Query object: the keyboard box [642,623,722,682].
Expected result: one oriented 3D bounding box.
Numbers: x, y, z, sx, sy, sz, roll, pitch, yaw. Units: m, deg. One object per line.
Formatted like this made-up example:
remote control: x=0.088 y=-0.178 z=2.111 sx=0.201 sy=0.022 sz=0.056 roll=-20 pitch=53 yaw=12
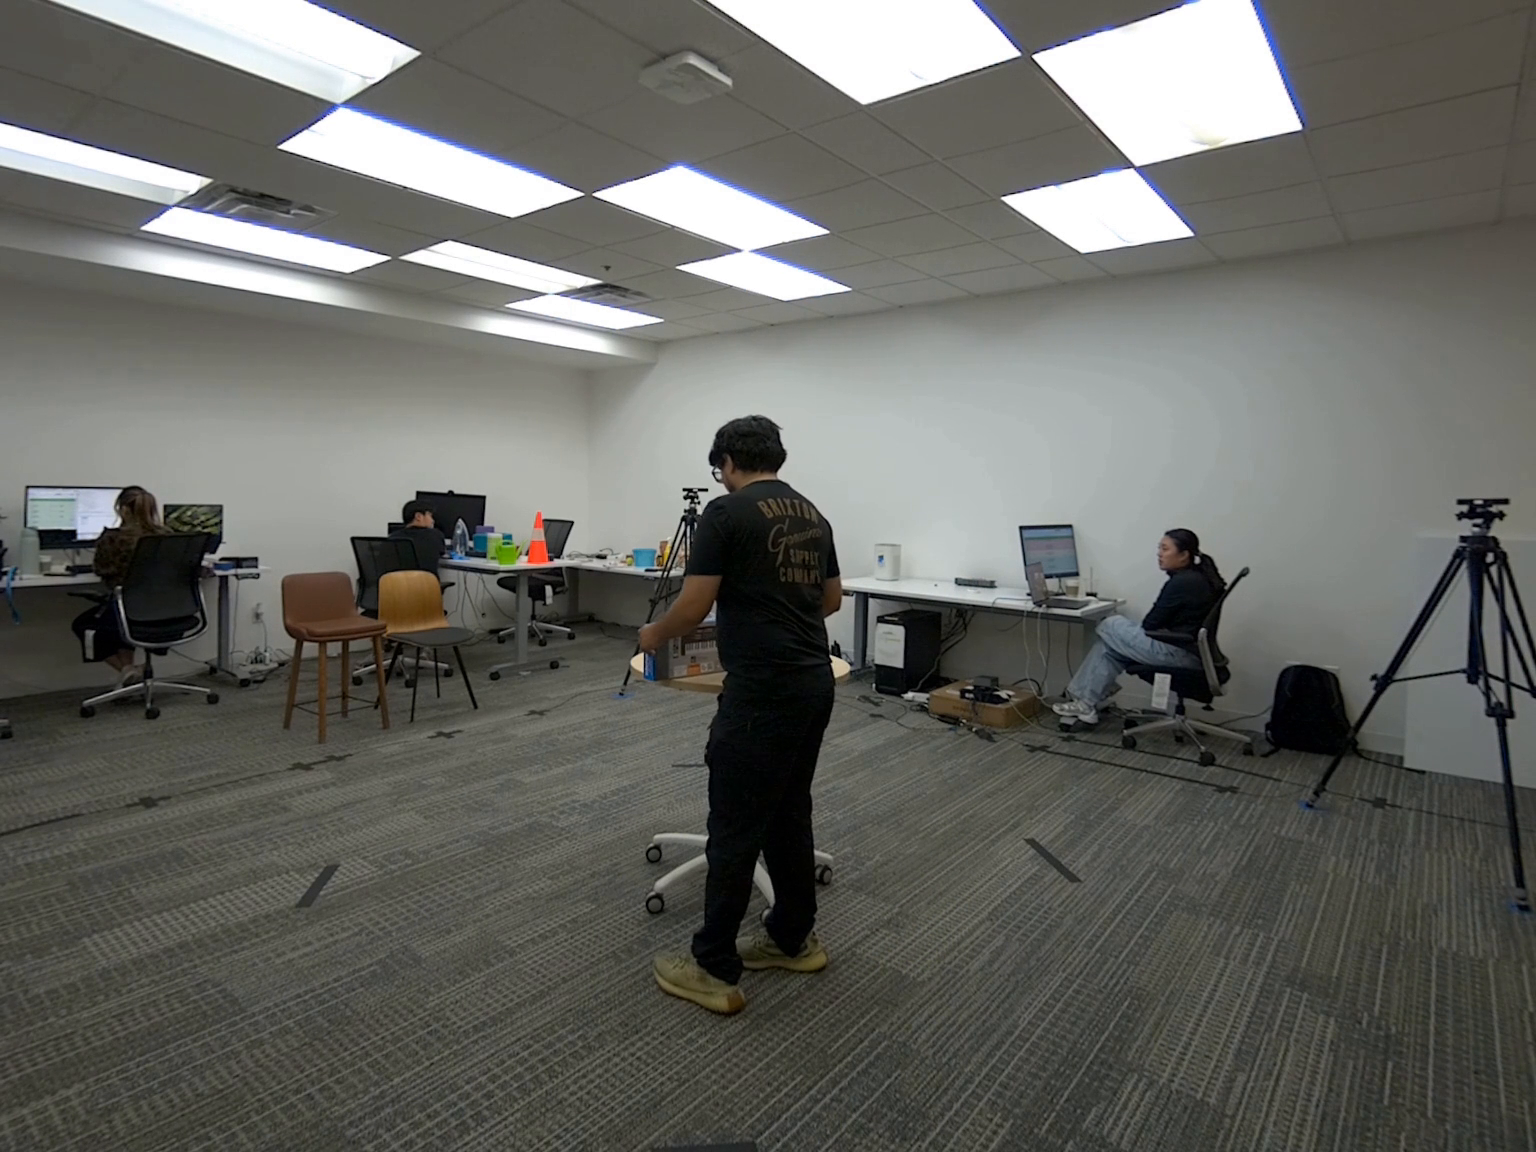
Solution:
keyboard box: x=-0.220 y=0.230 z=2.789 sx=0.424 sy=0.175 sz=0.061 roll=-3 pitch=5 yaw=-41
